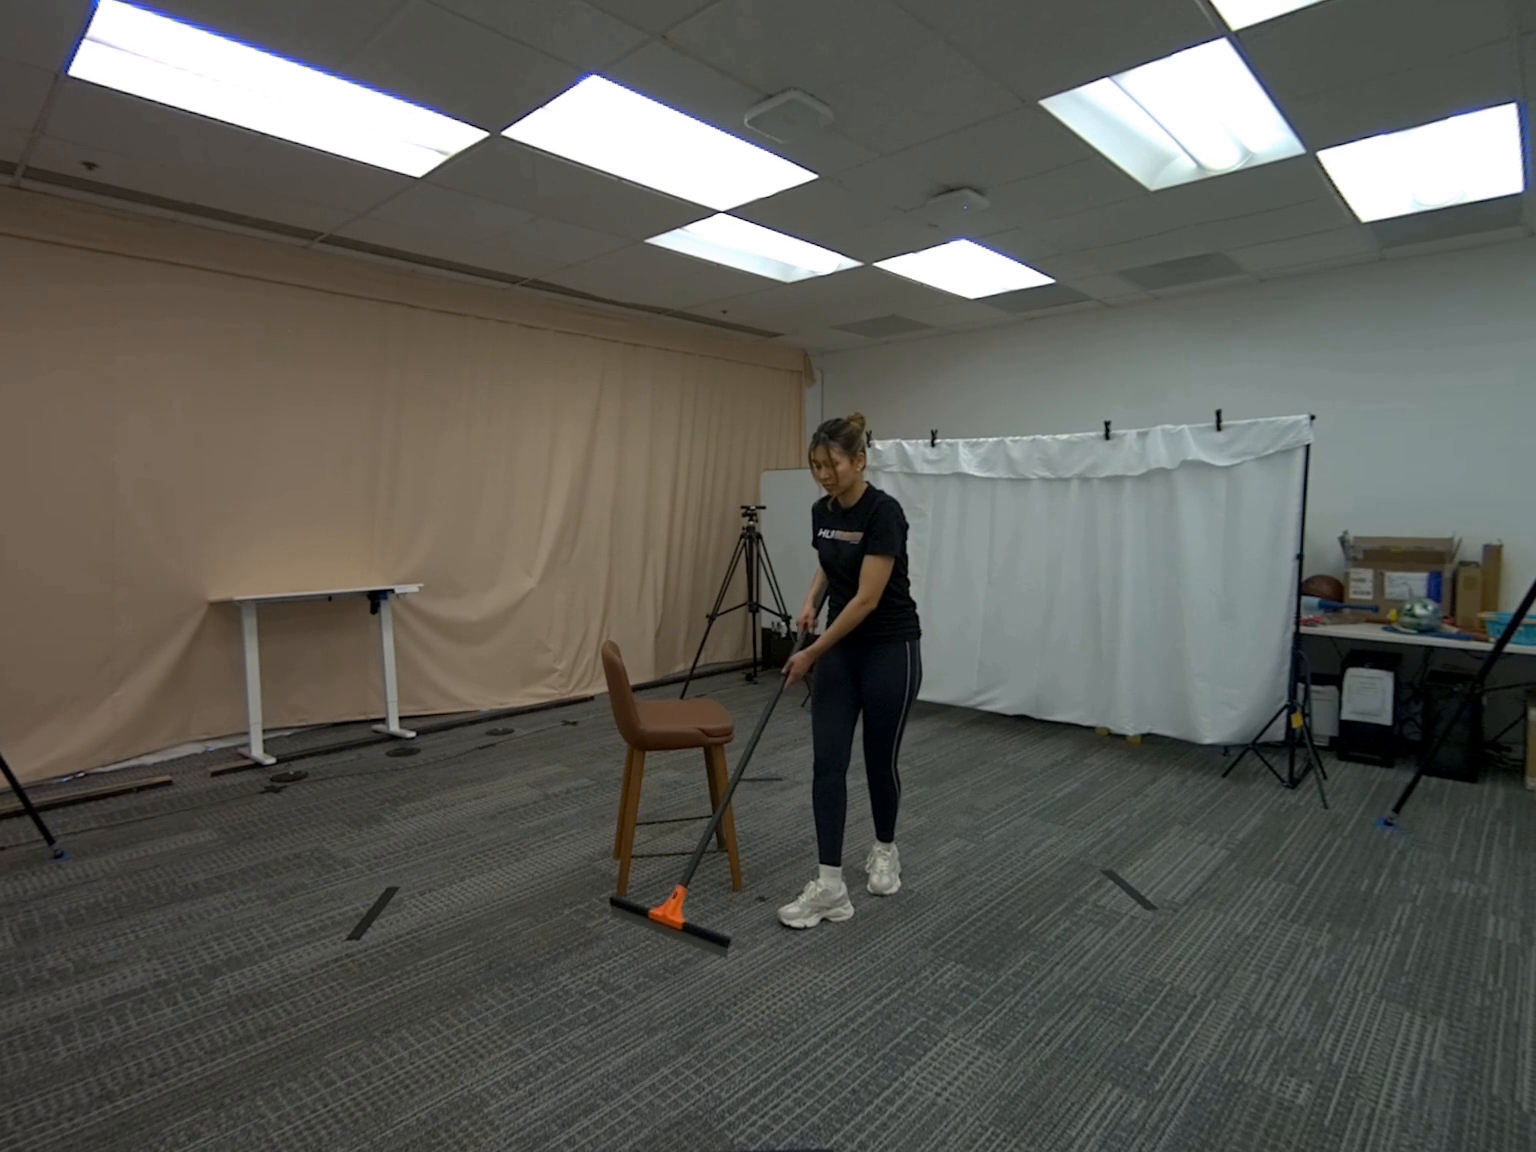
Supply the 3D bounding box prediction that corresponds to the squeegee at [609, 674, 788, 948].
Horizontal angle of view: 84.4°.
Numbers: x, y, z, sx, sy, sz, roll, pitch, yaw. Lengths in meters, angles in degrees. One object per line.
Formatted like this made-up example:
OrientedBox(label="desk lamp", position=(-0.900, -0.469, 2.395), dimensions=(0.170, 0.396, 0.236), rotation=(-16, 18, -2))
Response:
OrientedBox(label="squeegee", position=(0.019, 0.444, 2.774), dimensions=(0.451, 0.051, 1.536), rotation=(3, 46, 32))
